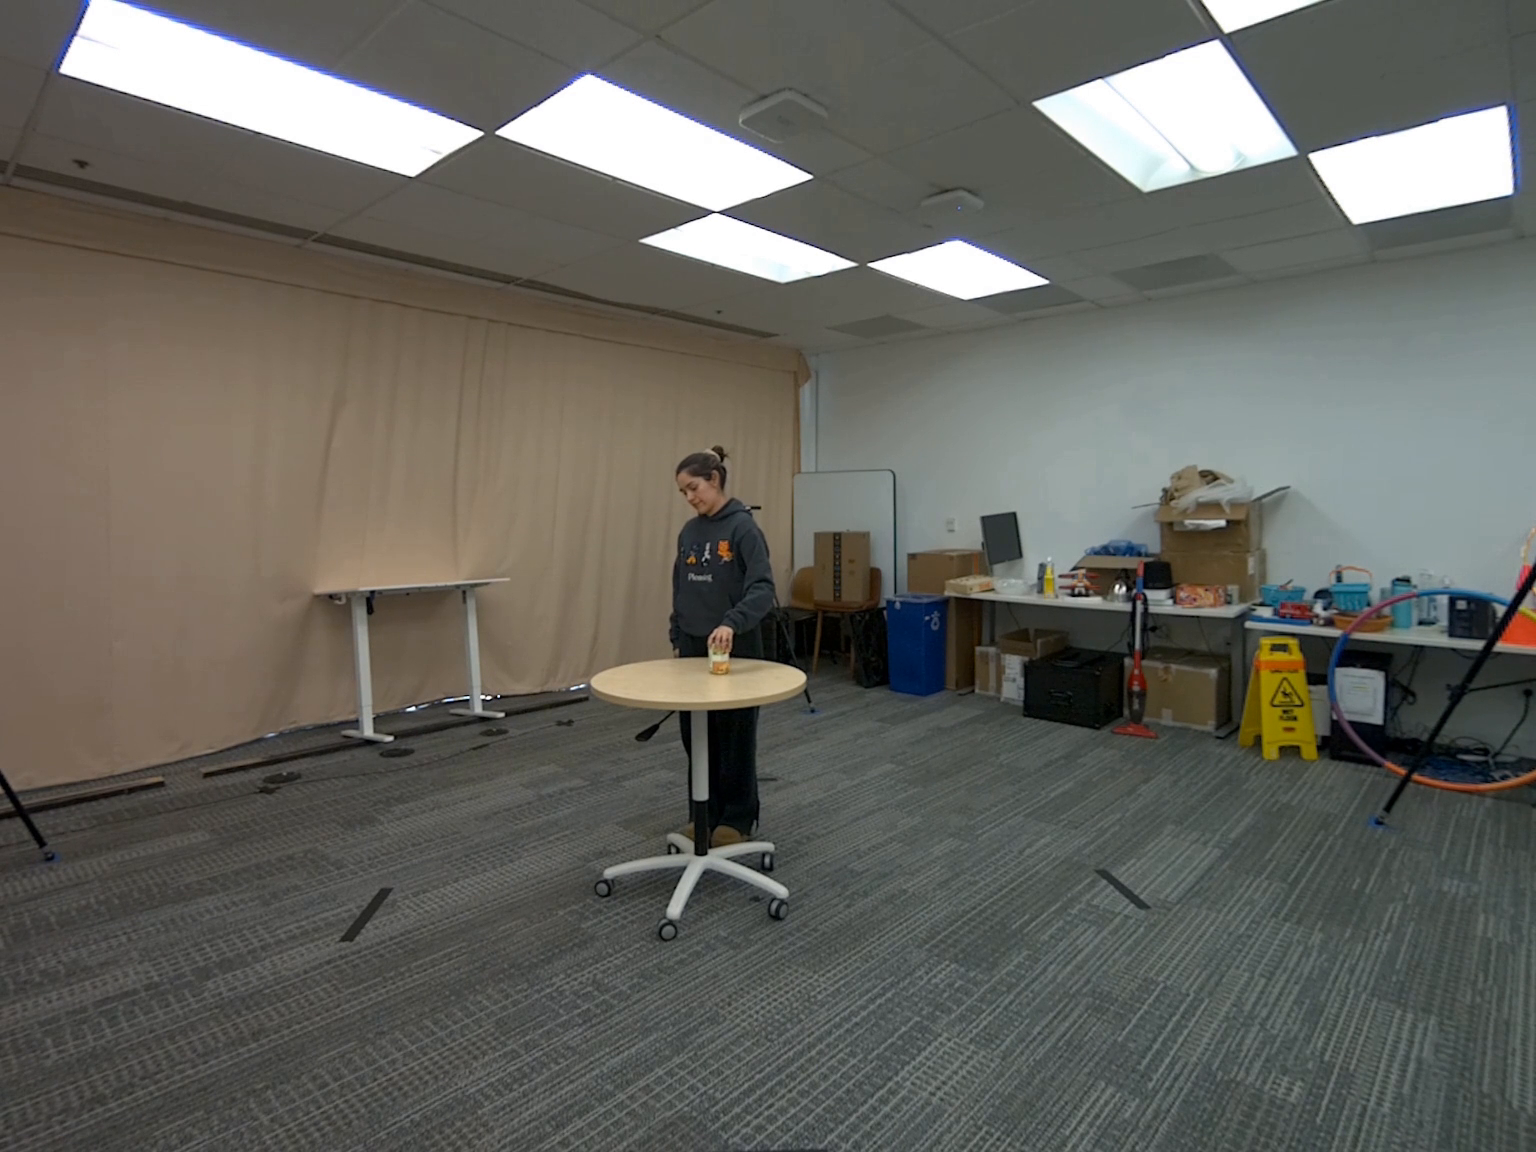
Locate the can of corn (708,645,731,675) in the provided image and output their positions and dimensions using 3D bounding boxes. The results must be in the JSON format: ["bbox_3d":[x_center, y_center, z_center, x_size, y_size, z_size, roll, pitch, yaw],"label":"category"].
[{"bbox_3d":[-0.175,0.287,3.080,0.074,0.111,0.074,3,2,-2],"label":"can of corn"}]
